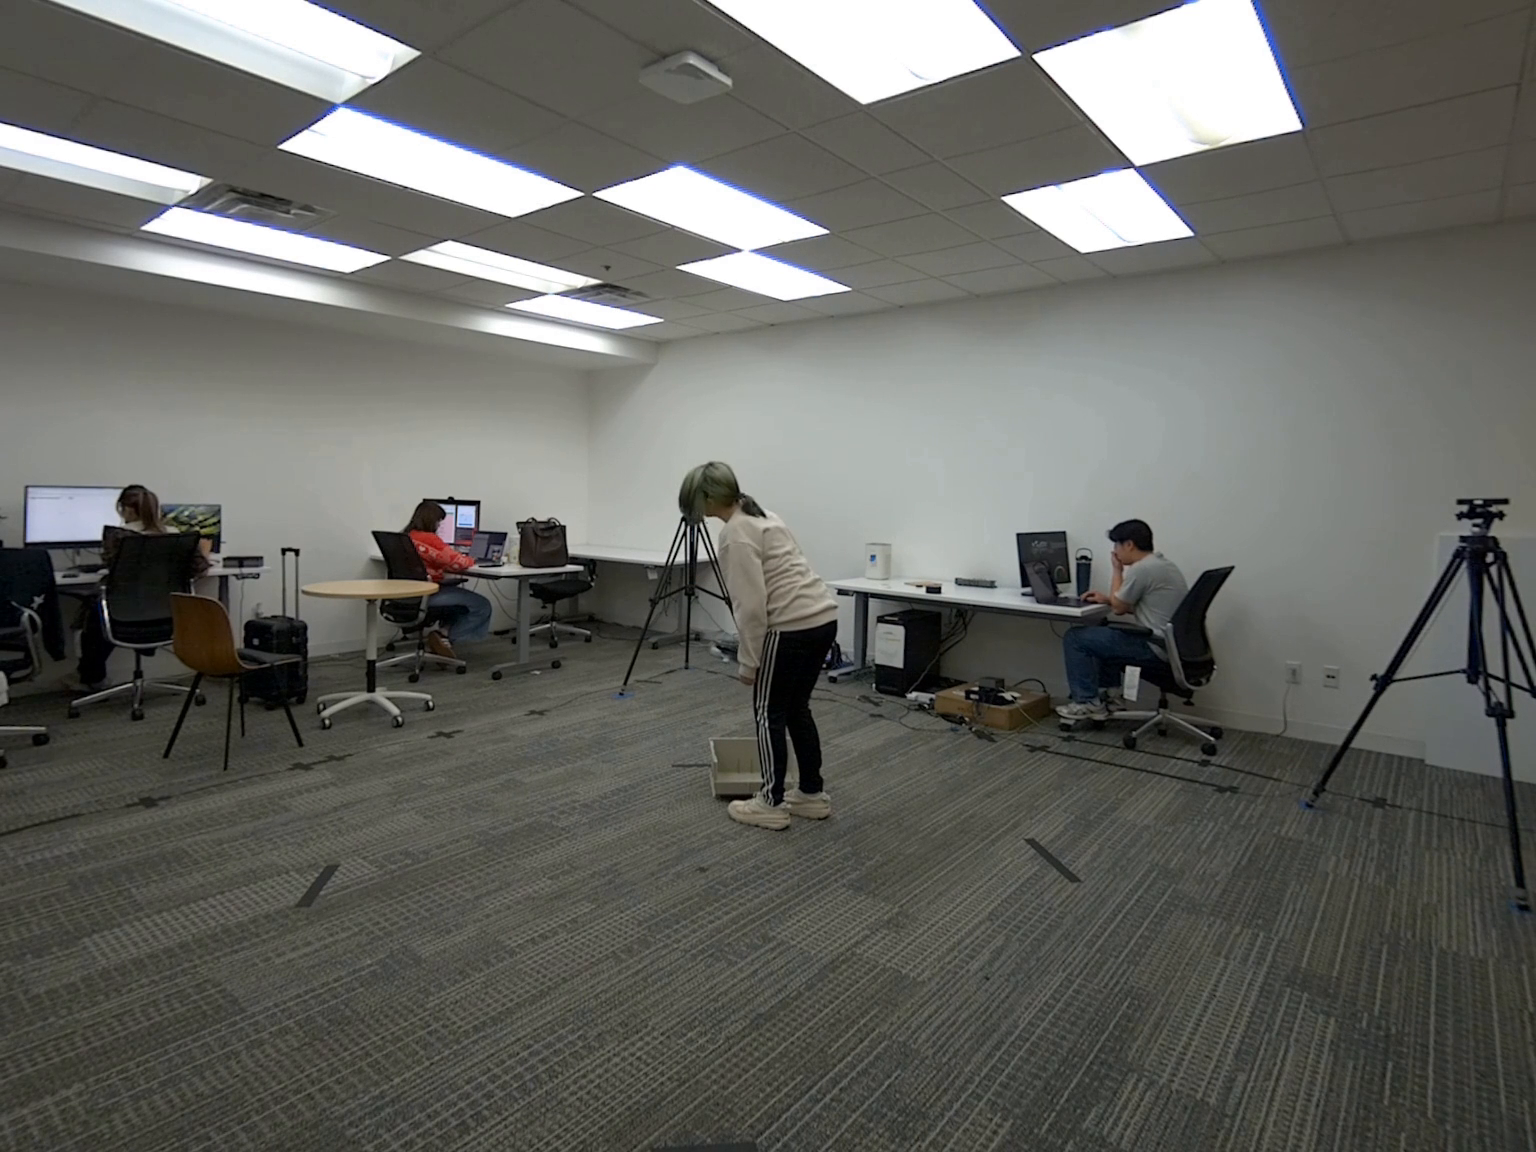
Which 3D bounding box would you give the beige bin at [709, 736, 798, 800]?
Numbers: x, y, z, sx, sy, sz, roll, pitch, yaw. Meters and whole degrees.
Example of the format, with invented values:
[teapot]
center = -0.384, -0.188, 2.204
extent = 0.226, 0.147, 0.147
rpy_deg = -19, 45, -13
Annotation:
[beige bin]
center = -0.066, 0.897, 3.978
extent = 0.420, 0.188, 0.381
rpy_deg = 0, 5, -7
